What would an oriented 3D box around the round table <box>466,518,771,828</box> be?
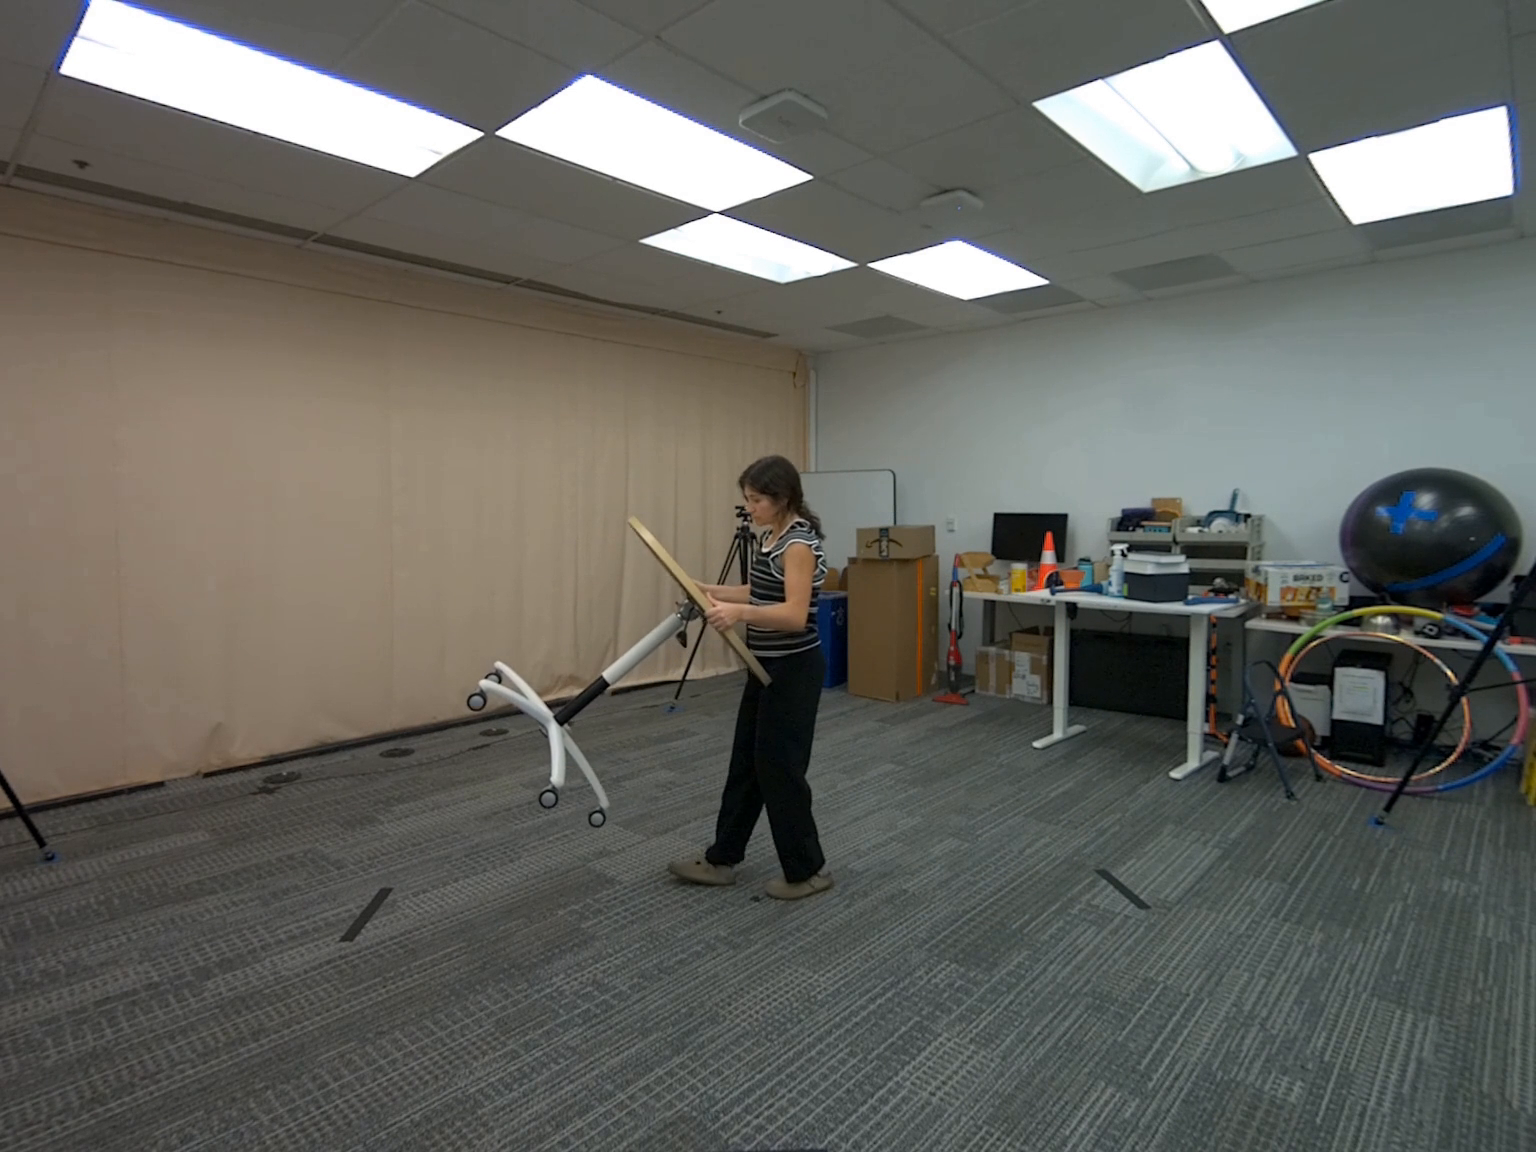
[{"bbox_3d":[-0.542,0.350,2.961,0.792,0.756,0.773,-40,9,-5],"label":"round table"}]
